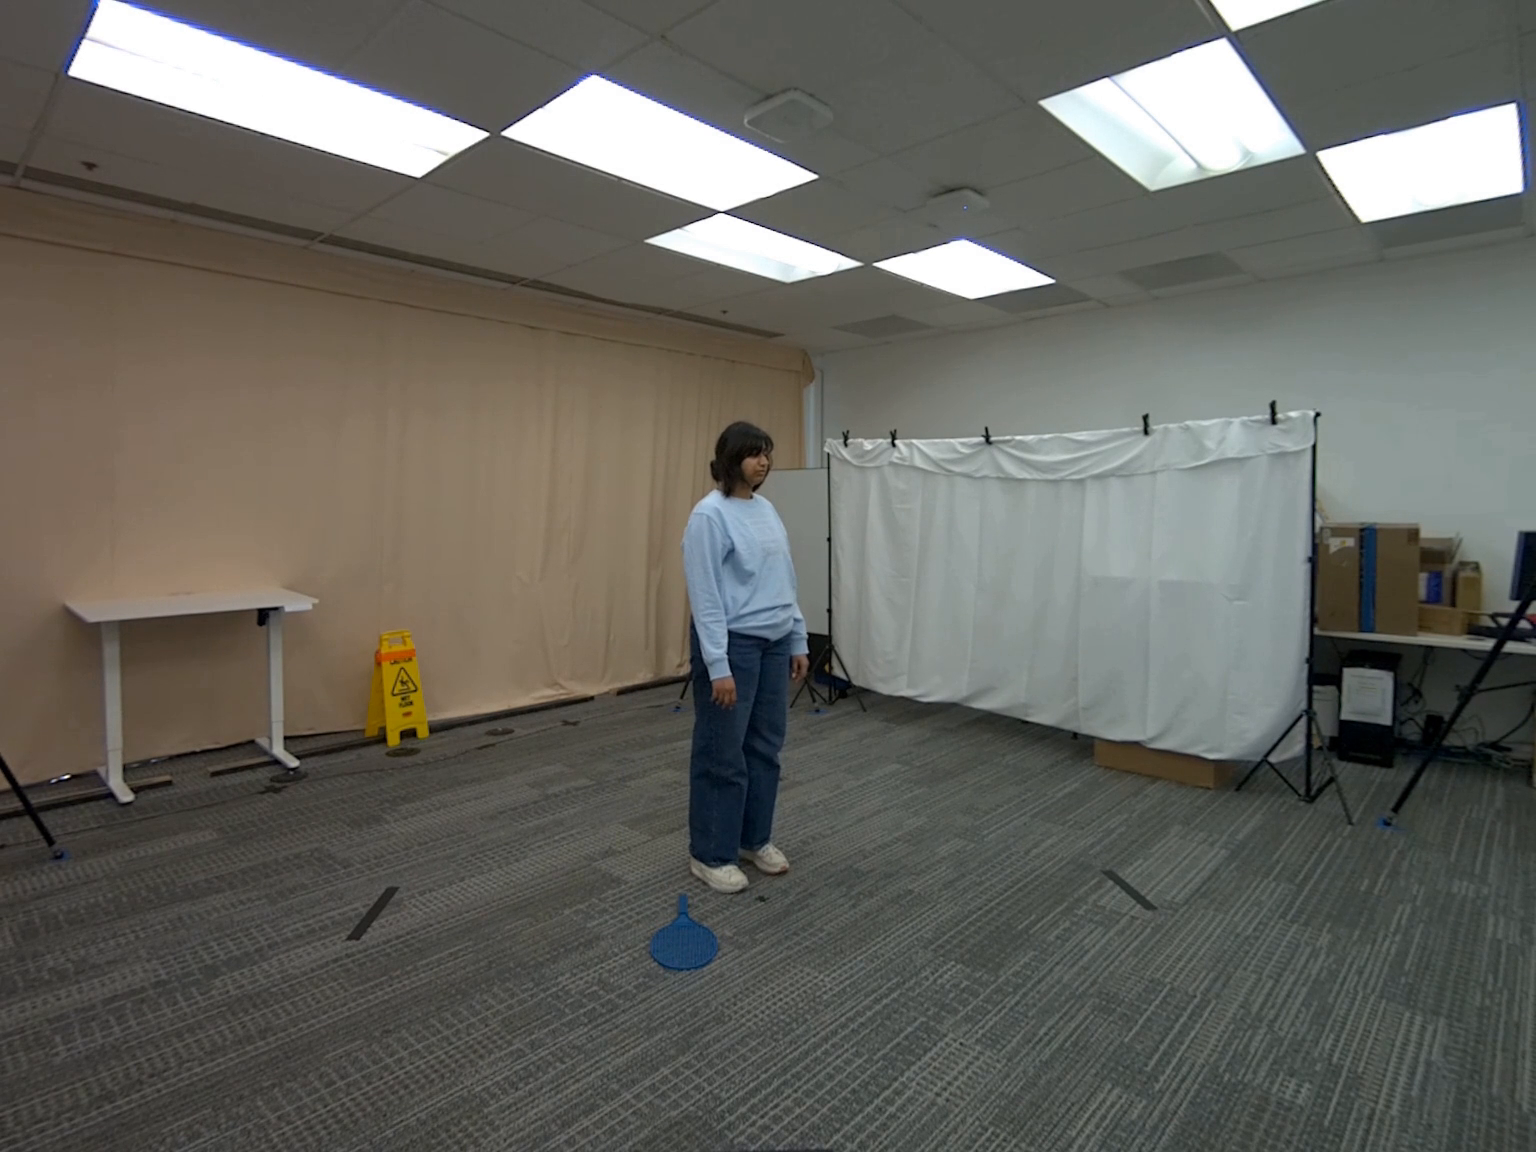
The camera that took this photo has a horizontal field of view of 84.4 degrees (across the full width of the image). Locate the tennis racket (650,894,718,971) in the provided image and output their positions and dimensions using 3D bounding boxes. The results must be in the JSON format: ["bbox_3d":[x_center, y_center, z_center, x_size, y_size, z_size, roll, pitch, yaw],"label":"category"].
[{"bbox_3d":[-0.273,1.149,2.737,0.213,0.031,0.436,0,6,-5],"label":"tennis racket"}]
